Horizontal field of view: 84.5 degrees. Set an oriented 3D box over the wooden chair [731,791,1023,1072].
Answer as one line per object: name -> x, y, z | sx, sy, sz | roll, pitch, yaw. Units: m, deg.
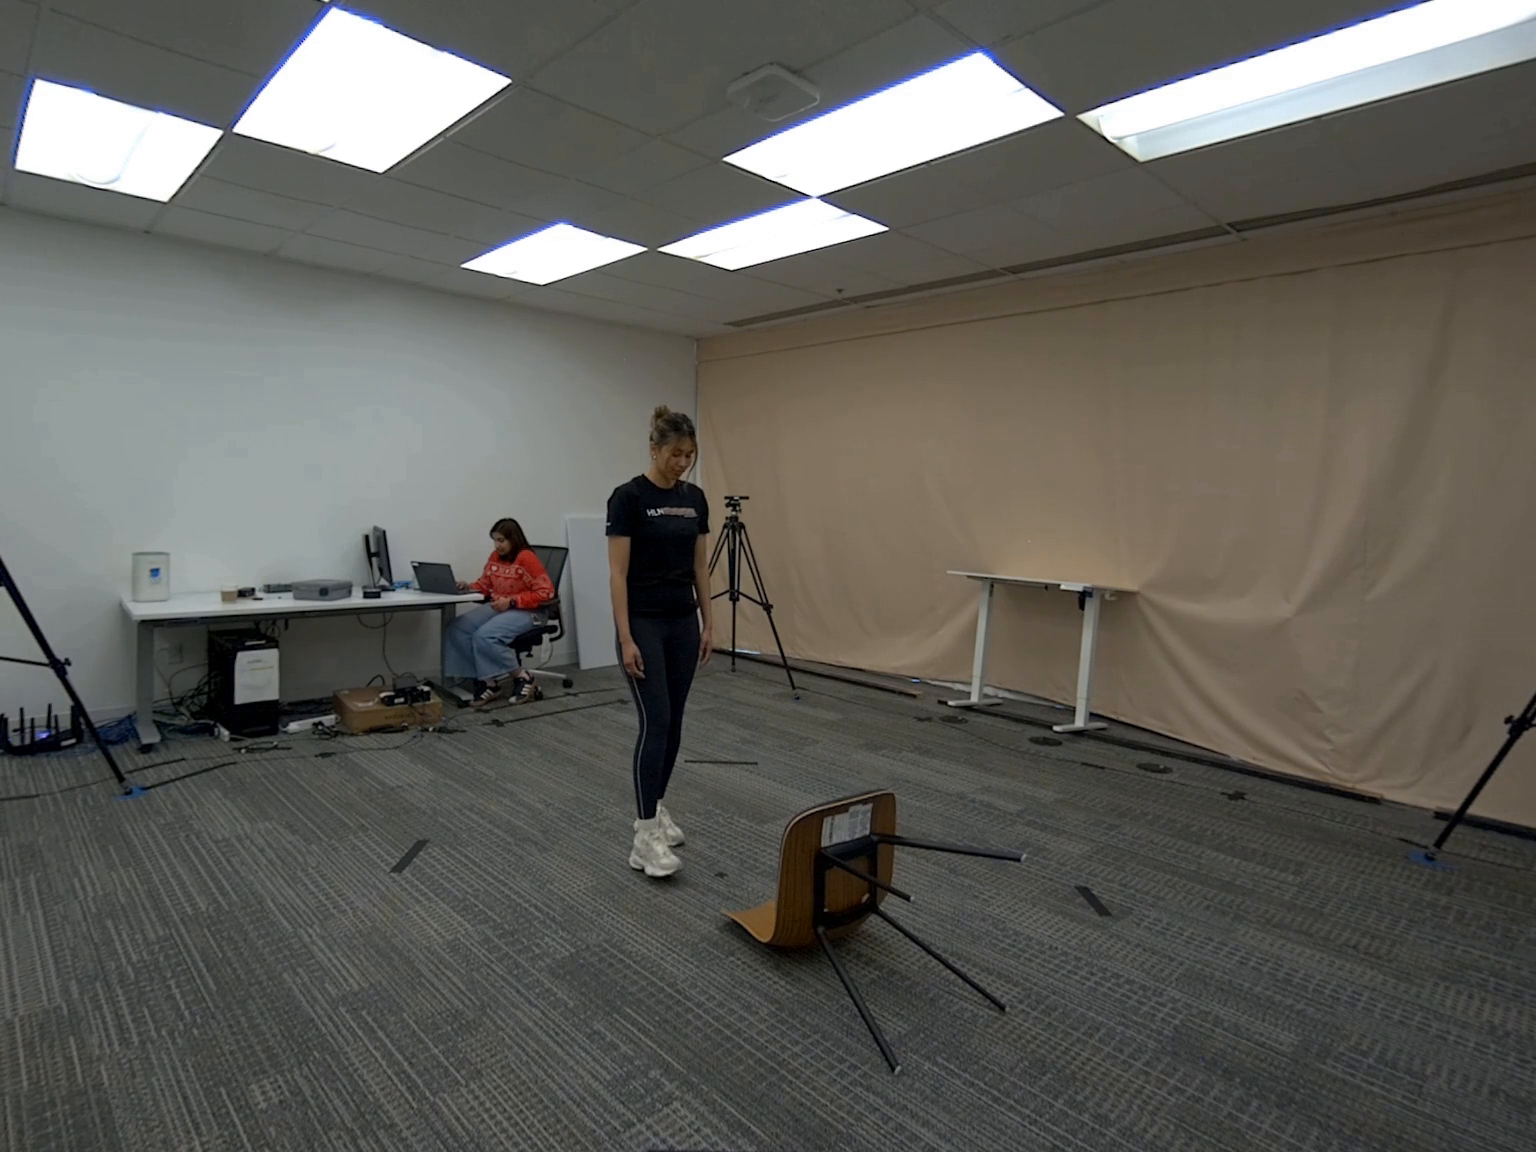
wooden chair -> 0.233, 0.910, 2.500 | 0.467, 0.522, 0.899 | -2, 5, -38
